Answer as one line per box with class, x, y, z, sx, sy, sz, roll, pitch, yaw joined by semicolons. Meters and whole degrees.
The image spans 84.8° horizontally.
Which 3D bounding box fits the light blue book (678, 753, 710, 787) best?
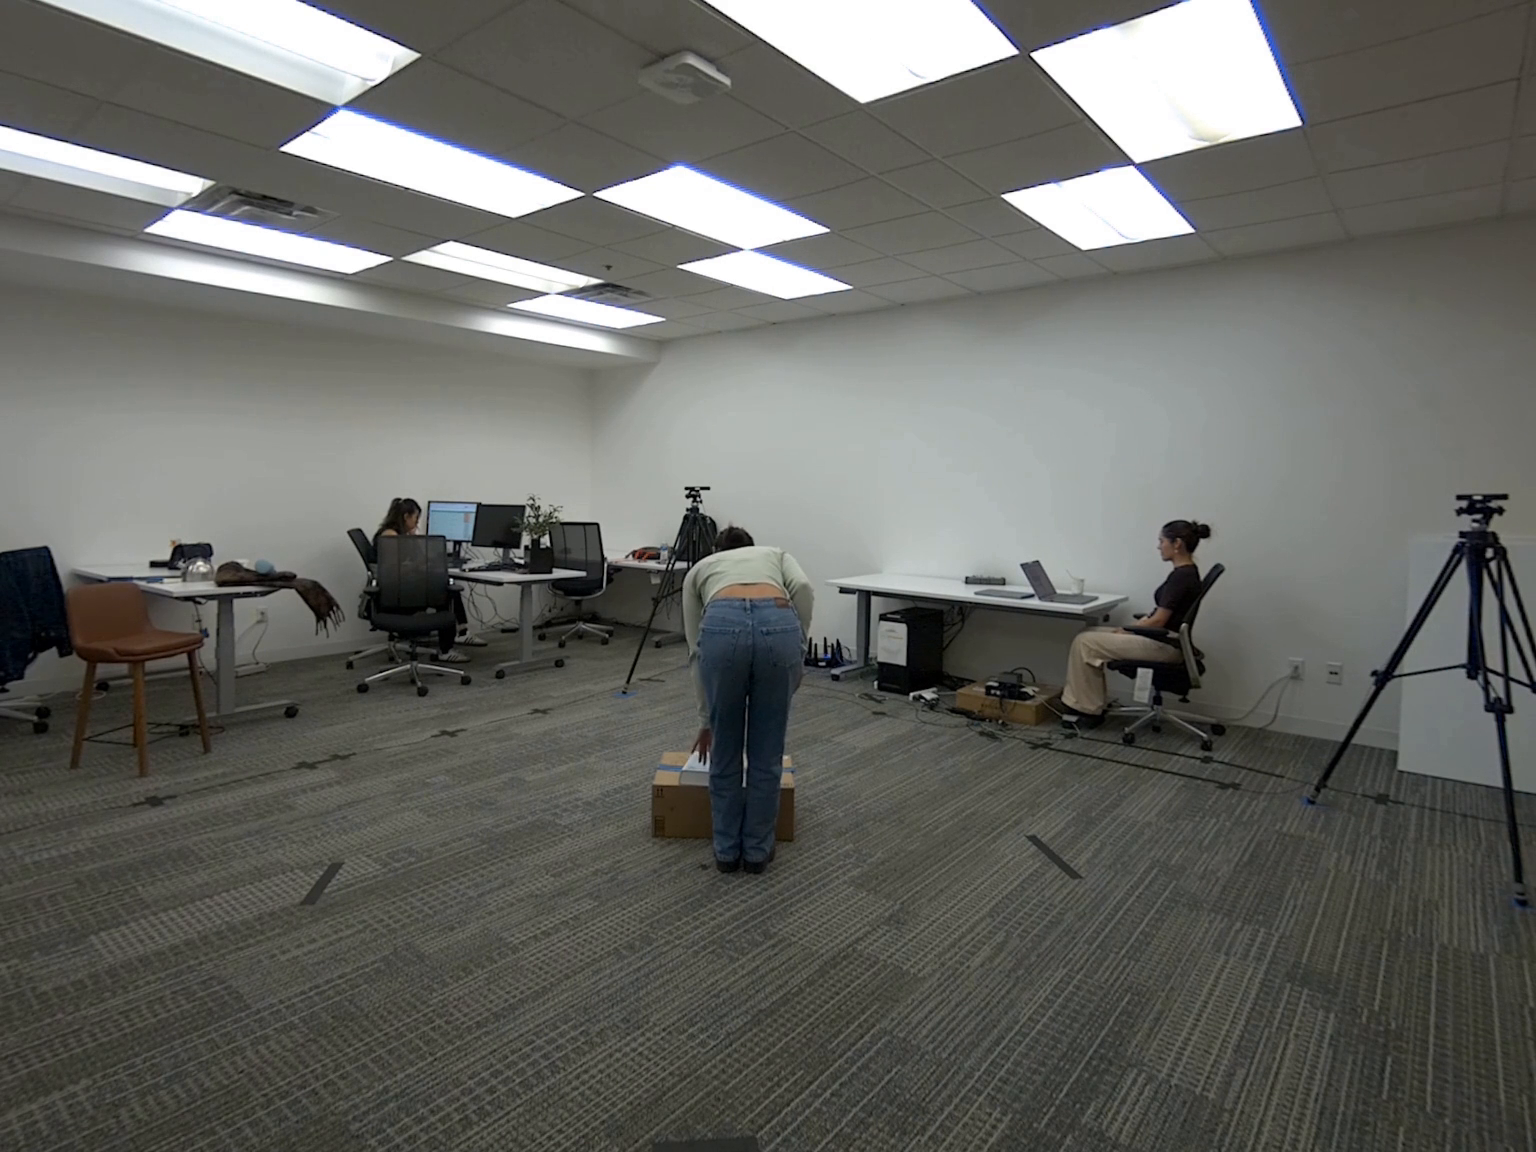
light blue book;-0.252;0.781;3.483;0.193;0.059;0.259;3;5;7
